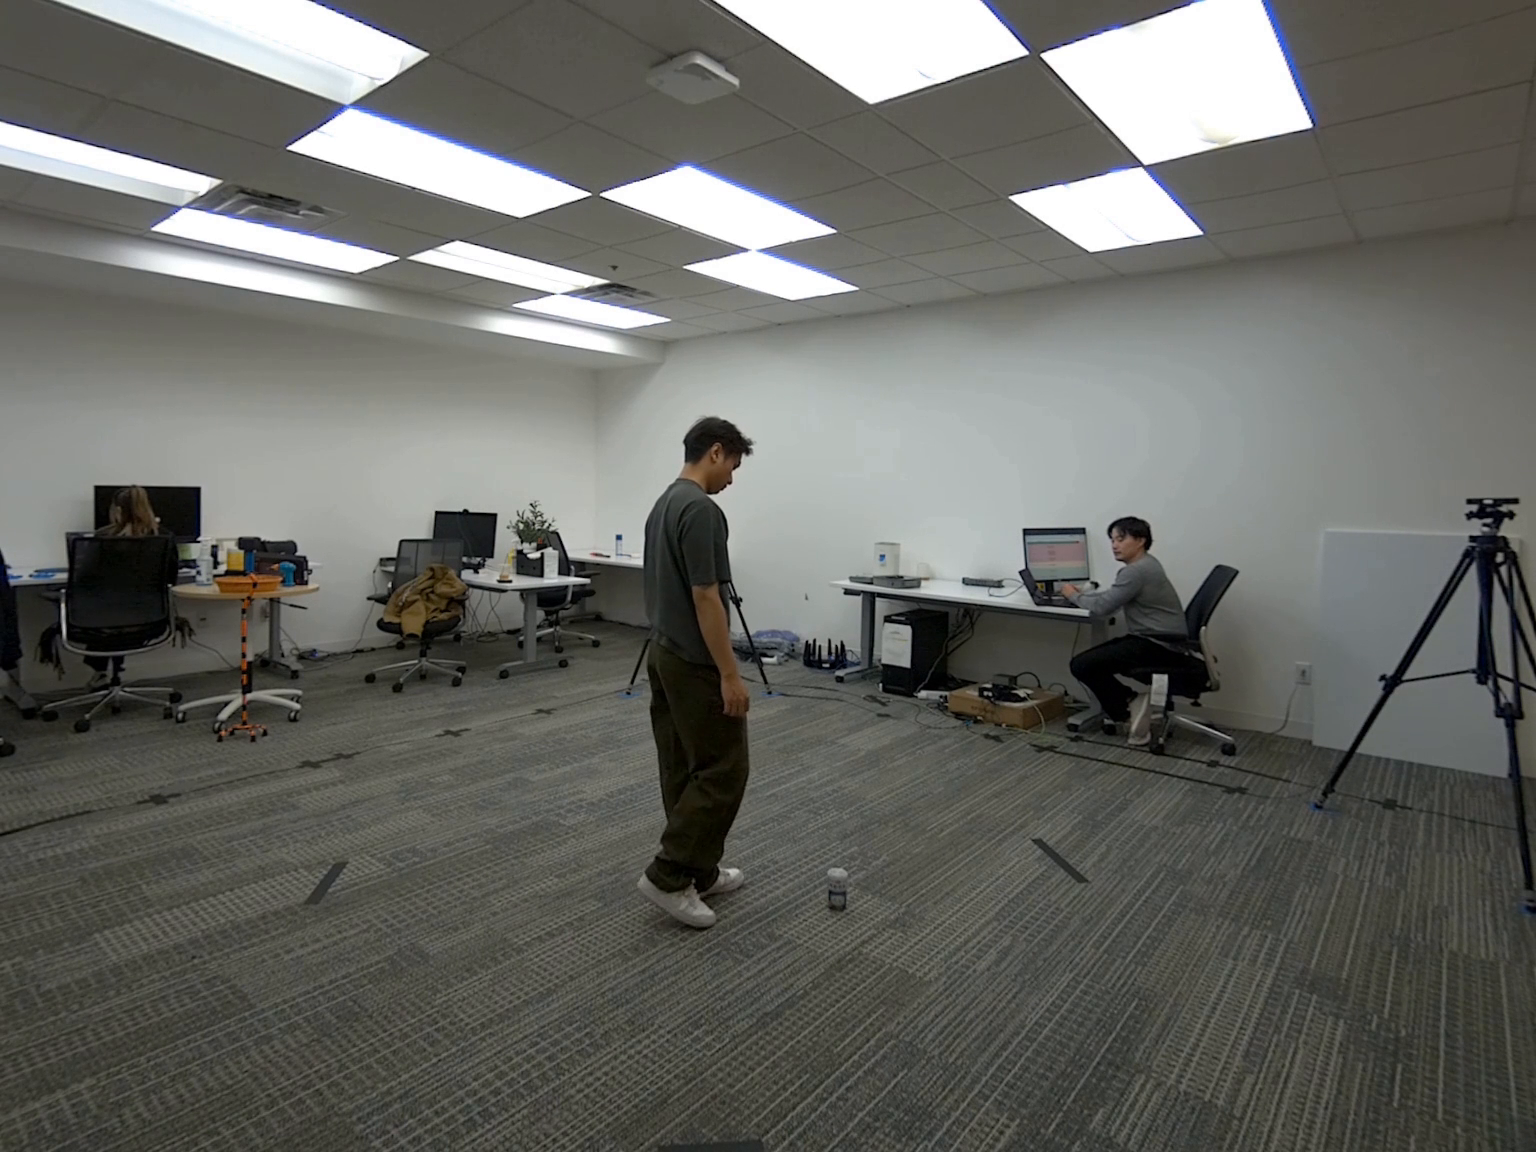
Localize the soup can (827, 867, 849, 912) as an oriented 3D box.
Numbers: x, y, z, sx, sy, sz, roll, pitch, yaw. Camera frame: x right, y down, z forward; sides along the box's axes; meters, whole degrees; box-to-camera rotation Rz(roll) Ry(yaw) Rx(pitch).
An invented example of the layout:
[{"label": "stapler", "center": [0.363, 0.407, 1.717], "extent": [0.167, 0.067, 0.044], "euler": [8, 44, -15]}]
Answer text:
[{"label": "soup can", "center": [0.223, 1.049, 2.839], "extent": [0.067, 0.121, 0.067], "euler": [2, 4, -2]}]
